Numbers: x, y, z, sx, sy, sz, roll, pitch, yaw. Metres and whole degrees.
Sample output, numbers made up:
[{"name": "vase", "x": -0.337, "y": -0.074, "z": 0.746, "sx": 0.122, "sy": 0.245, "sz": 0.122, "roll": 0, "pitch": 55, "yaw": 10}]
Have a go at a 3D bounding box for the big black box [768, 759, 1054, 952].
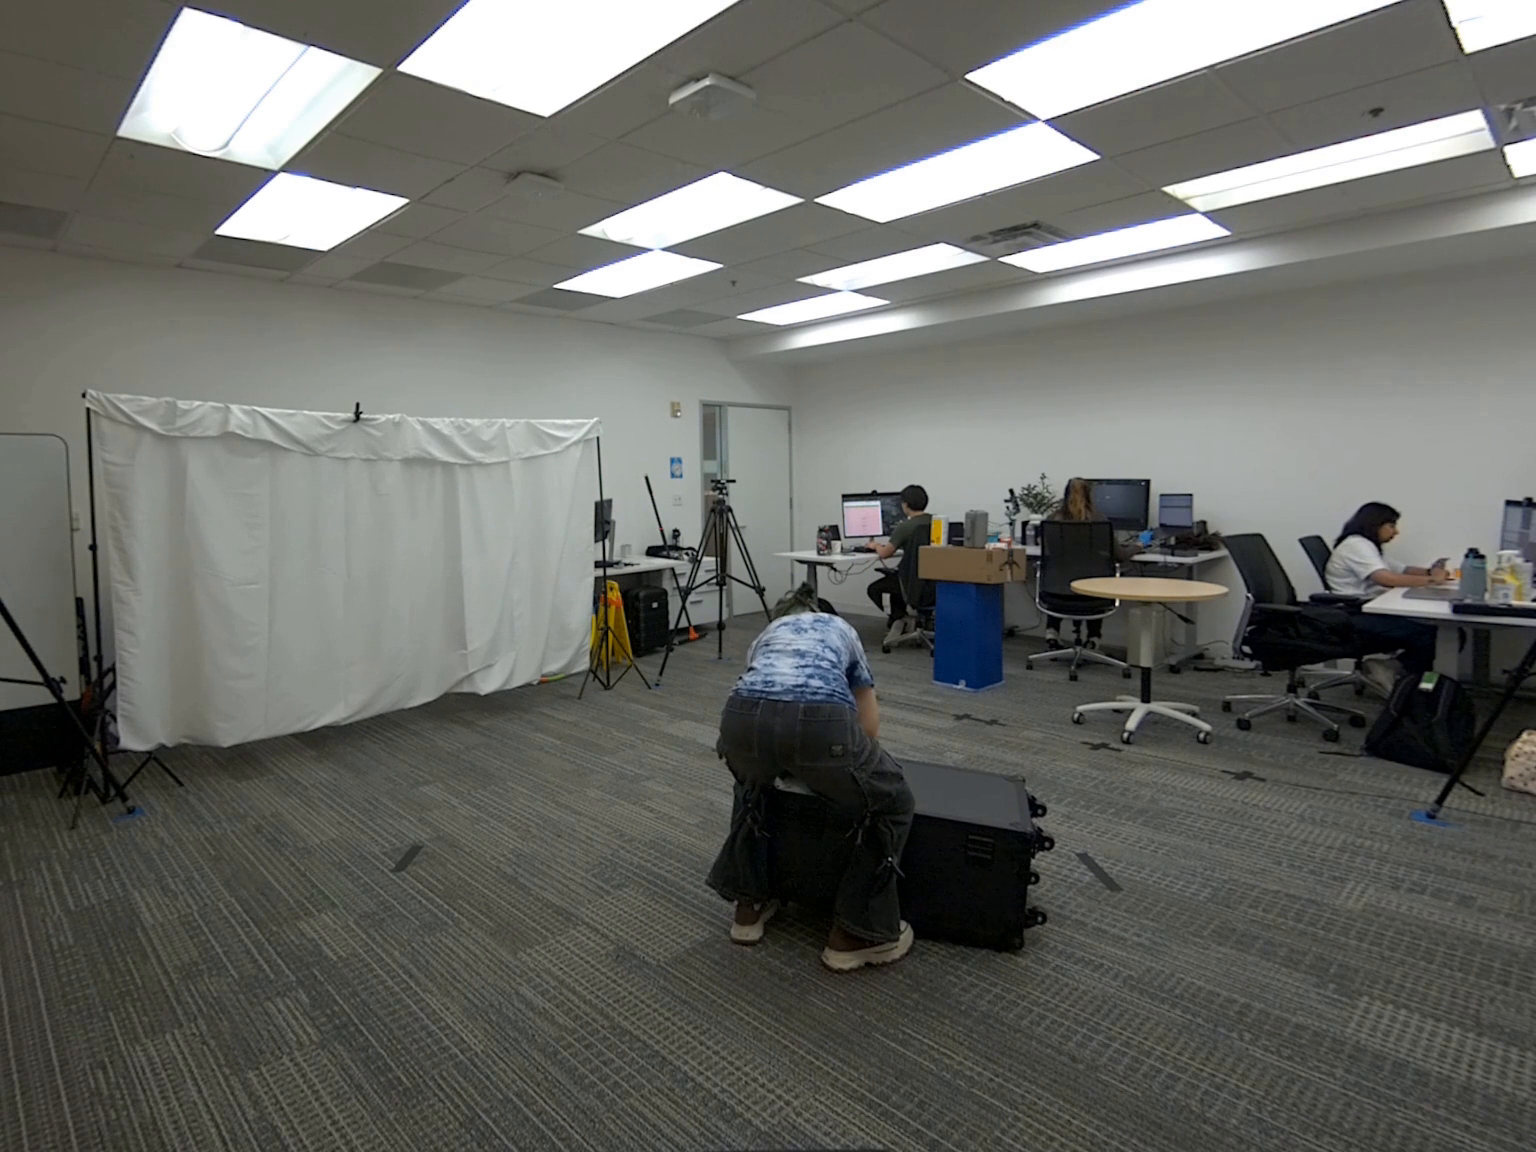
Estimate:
[{"name": "big black box", "x": 0.457, "y": 0.855, "z": 2.785, "sx": 0.876, "sy": 0.394, "sz": 0.515, "roll": 4, "pitch": 6, "yaw": 15}]
